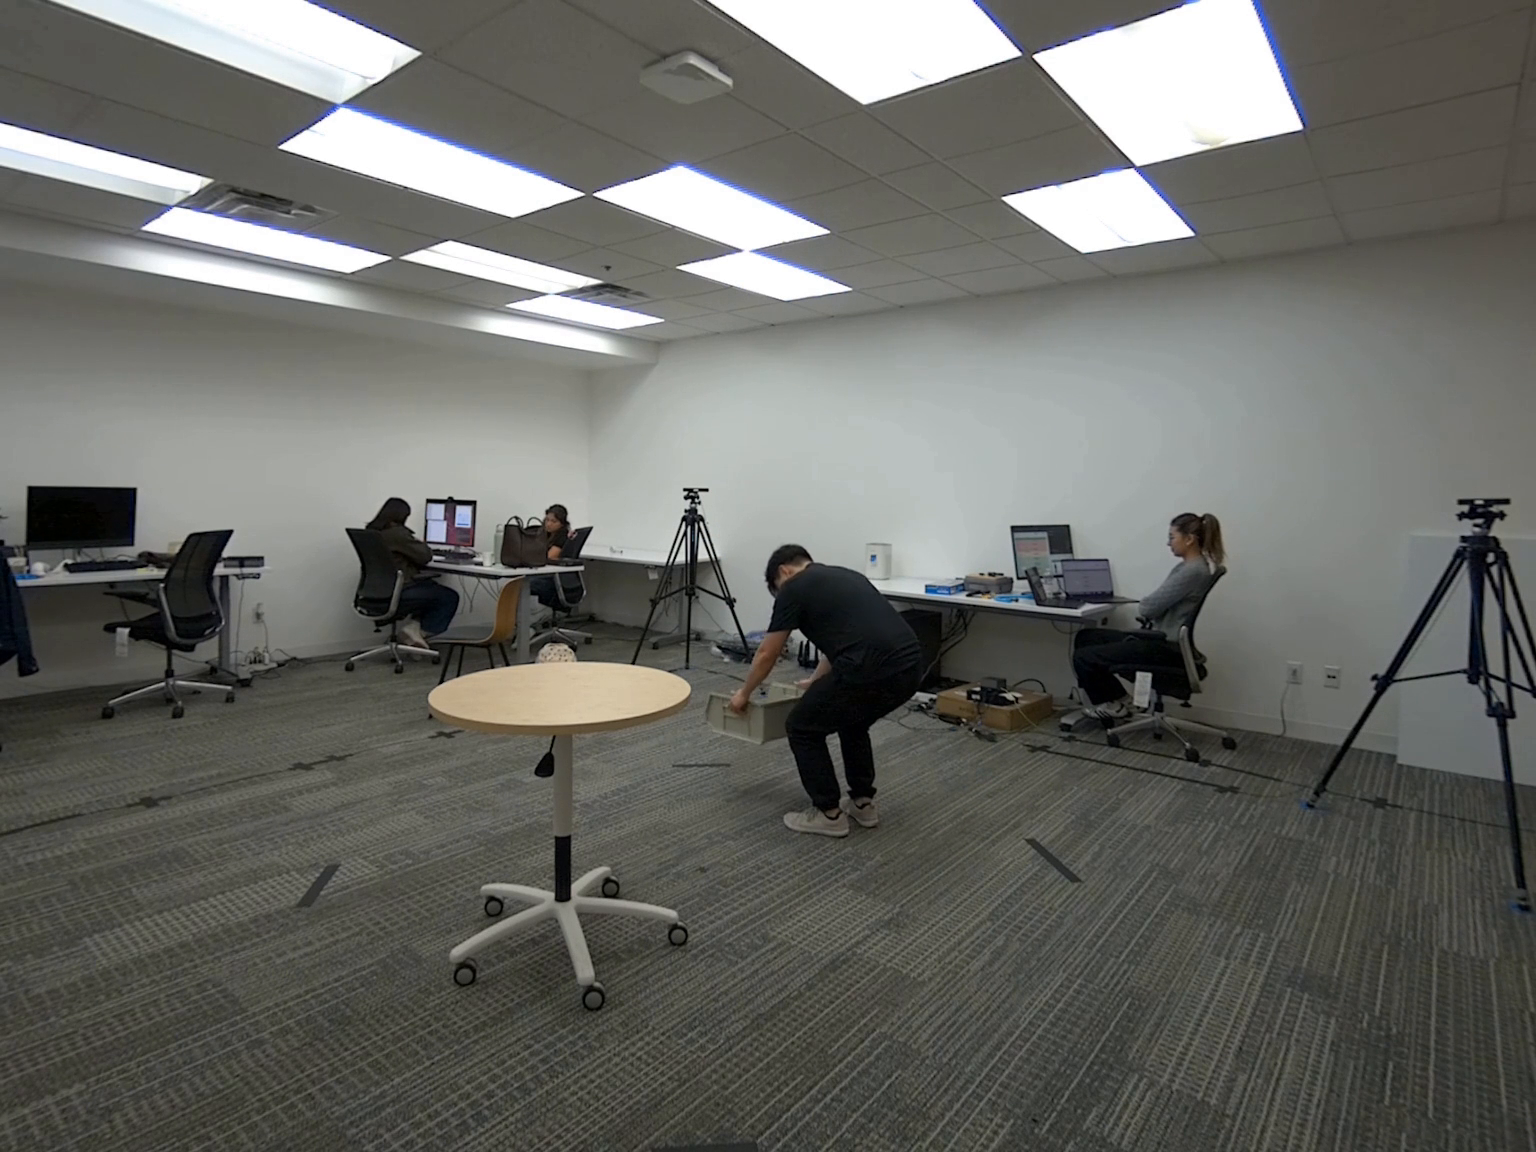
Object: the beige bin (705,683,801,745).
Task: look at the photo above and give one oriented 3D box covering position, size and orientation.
[{"bbox_3d":[-0.028,0.613,3.906,0.409,0.189,0.390,-1,4,-44],"label":"beige bin"}]
